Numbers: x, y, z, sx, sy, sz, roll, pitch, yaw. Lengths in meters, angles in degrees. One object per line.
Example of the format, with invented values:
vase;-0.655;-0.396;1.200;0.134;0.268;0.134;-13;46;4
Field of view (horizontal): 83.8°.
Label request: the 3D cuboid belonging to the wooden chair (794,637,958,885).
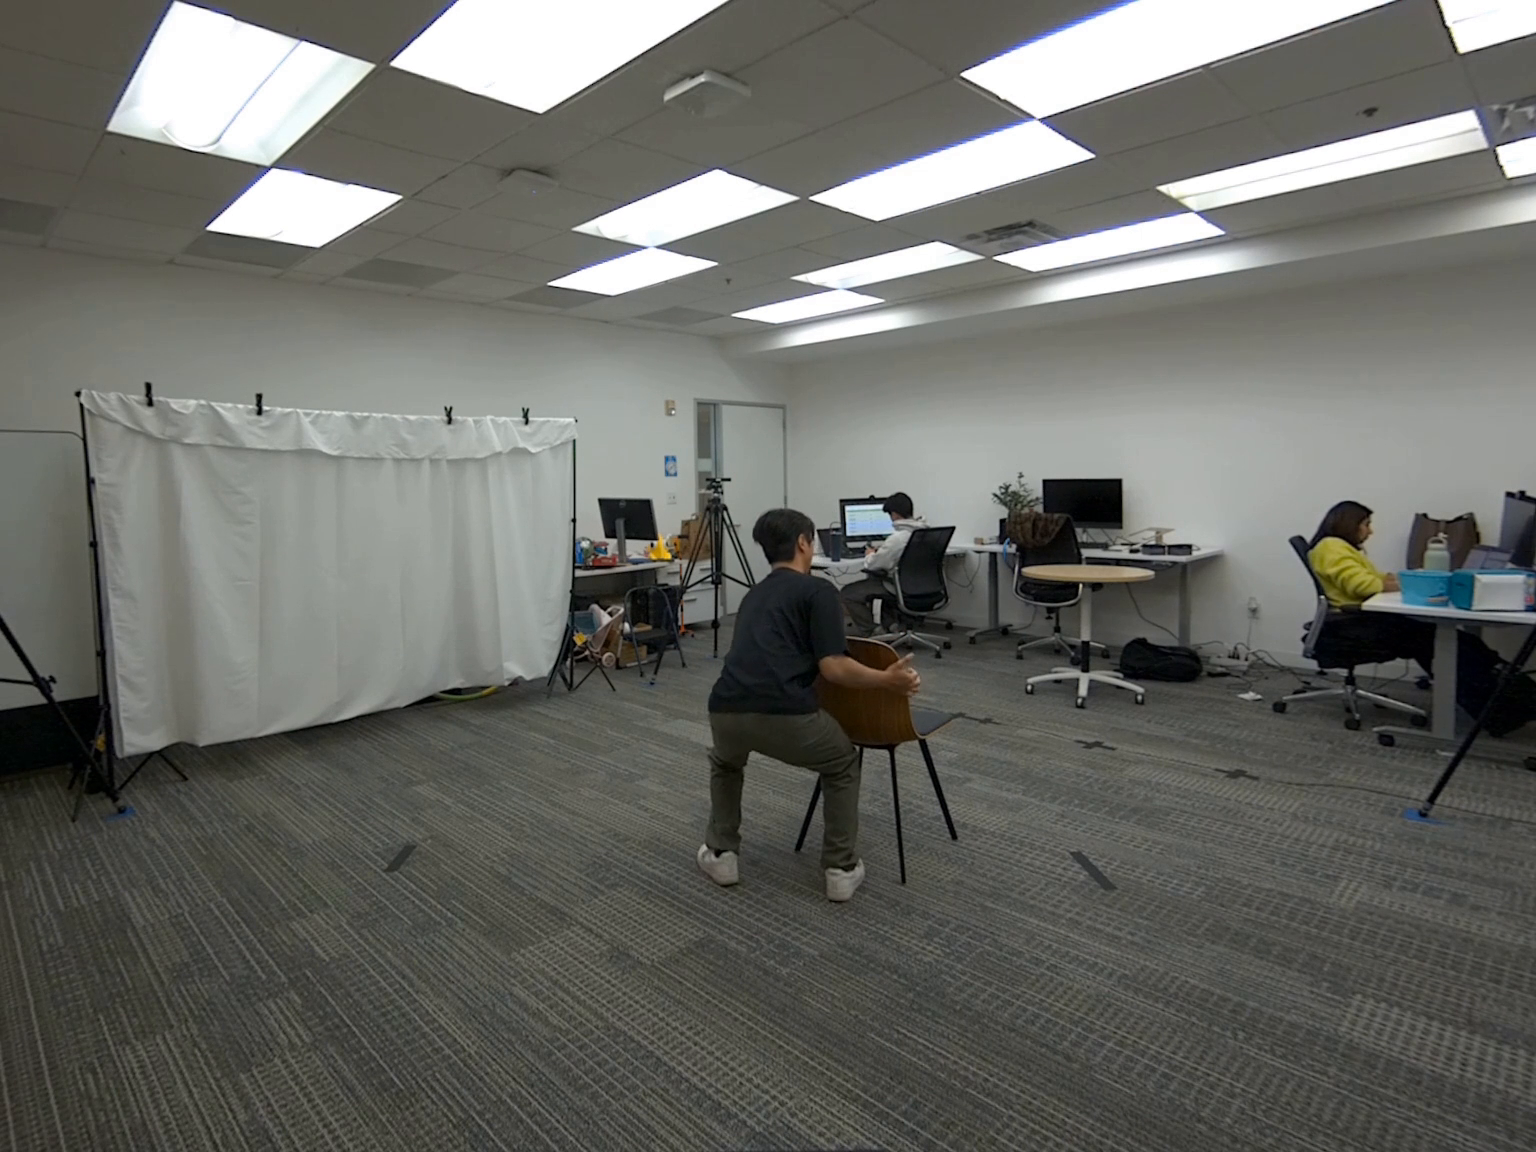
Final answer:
wooden chair;0.411;0.593;3.212;0.492;0.871;0.512;2;9;36
